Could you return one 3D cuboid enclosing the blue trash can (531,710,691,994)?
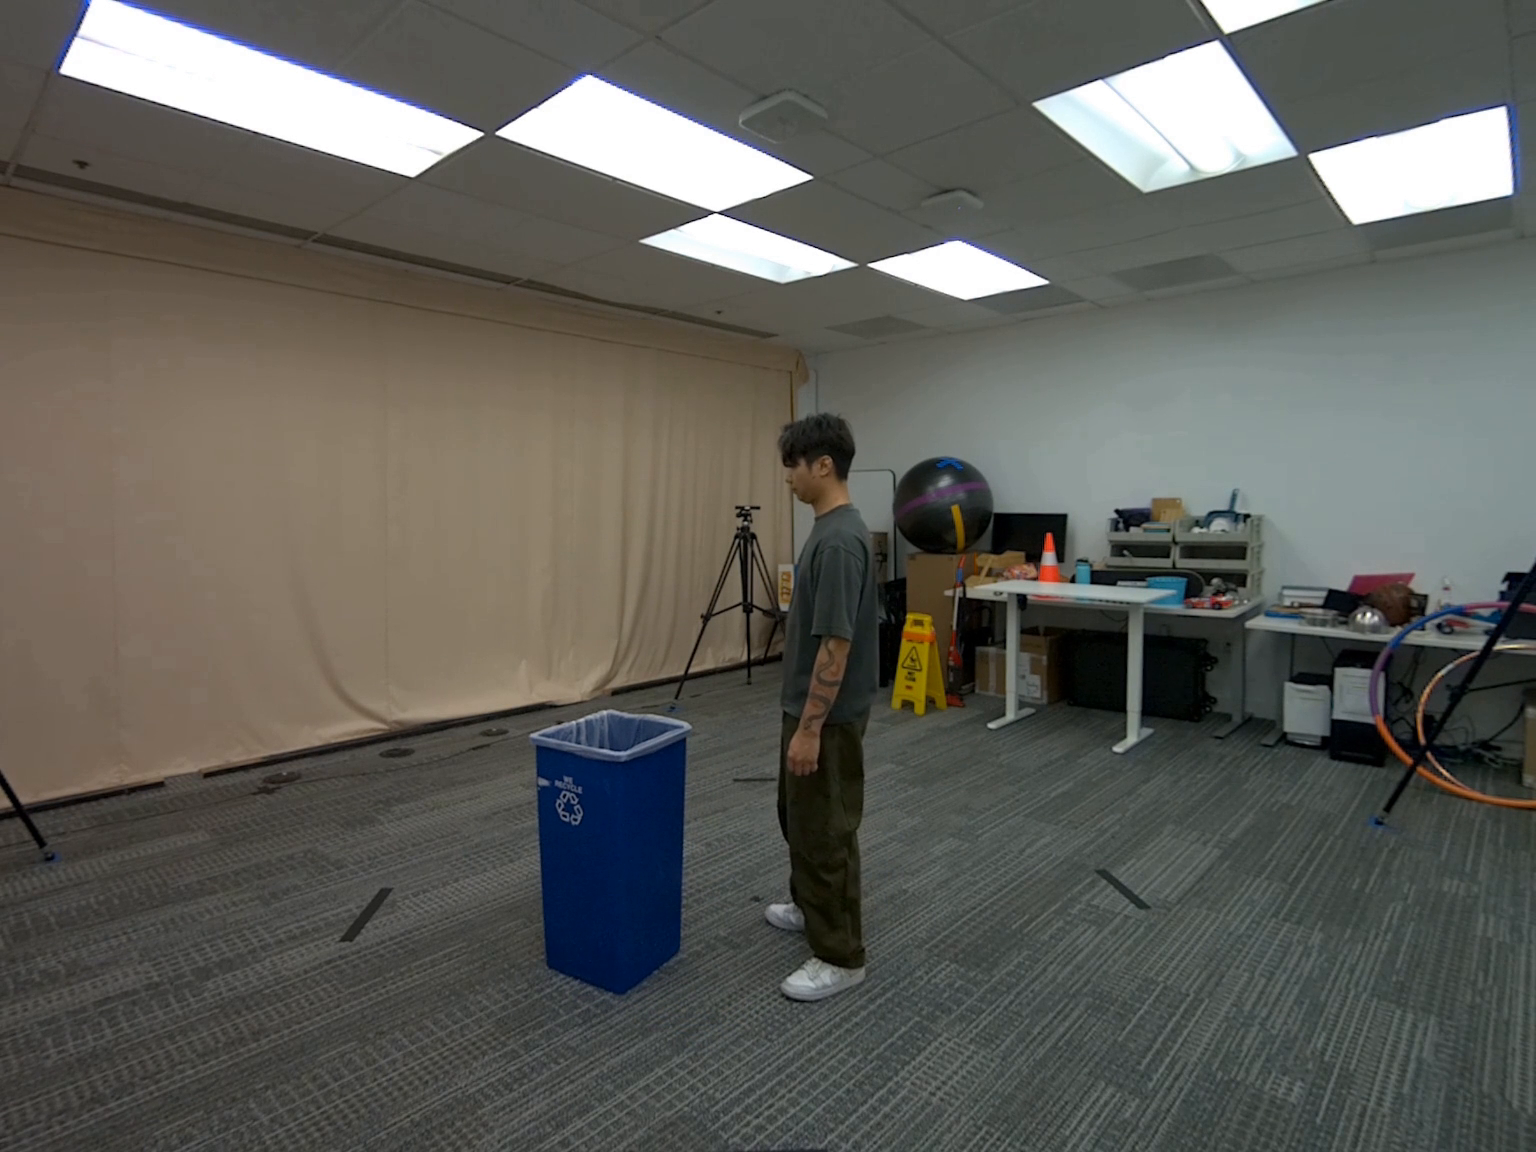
[{"bbox_3d":[-0.475,0.825,2.586,0.389,0.712,0.364,2,5,30],"label":"blue trash can"}]
